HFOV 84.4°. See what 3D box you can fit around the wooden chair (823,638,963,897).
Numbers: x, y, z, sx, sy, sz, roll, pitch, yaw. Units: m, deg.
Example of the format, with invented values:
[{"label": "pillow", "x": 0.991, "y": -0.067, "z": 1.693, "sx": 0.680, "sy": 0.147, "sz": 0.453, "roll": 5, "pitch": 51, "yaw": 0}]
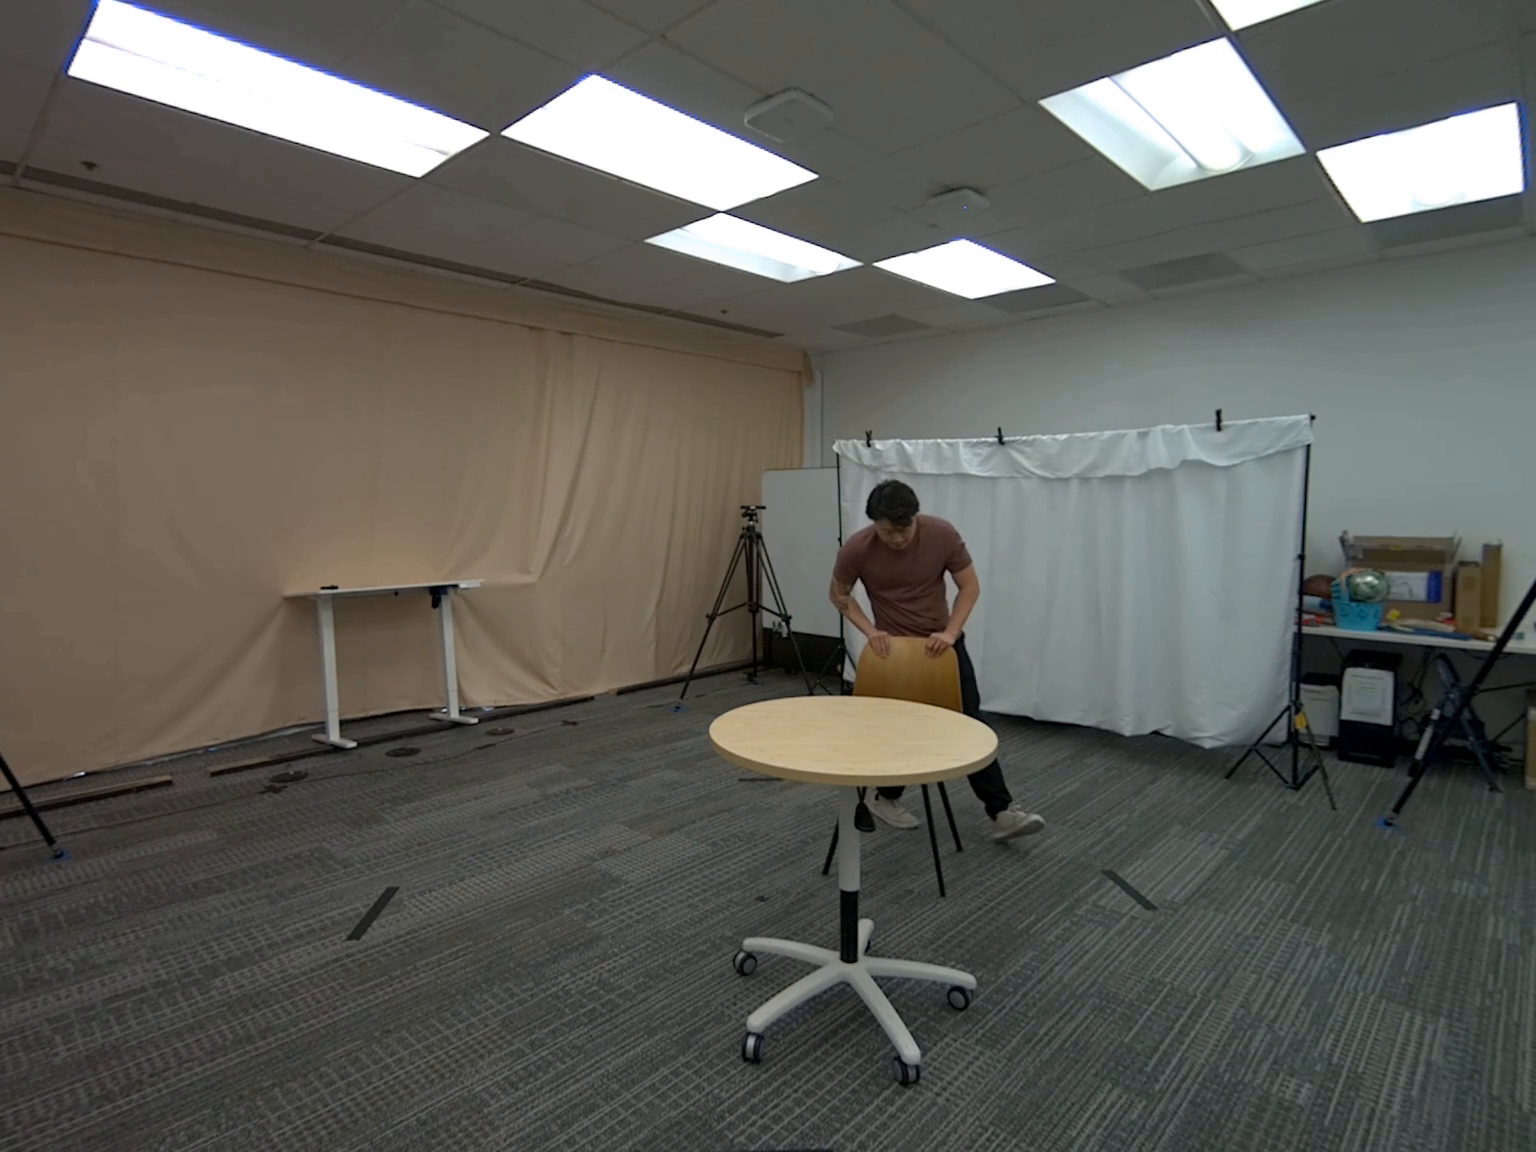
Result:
[{"label": "wooden chair", "x": 0.498, "y": 0.691, "z": 3.245, "sx": 0.490, "sy": 0.878, "sz": 0.510, "roll": 2, "pitch": -1, "yaw": 23}]
